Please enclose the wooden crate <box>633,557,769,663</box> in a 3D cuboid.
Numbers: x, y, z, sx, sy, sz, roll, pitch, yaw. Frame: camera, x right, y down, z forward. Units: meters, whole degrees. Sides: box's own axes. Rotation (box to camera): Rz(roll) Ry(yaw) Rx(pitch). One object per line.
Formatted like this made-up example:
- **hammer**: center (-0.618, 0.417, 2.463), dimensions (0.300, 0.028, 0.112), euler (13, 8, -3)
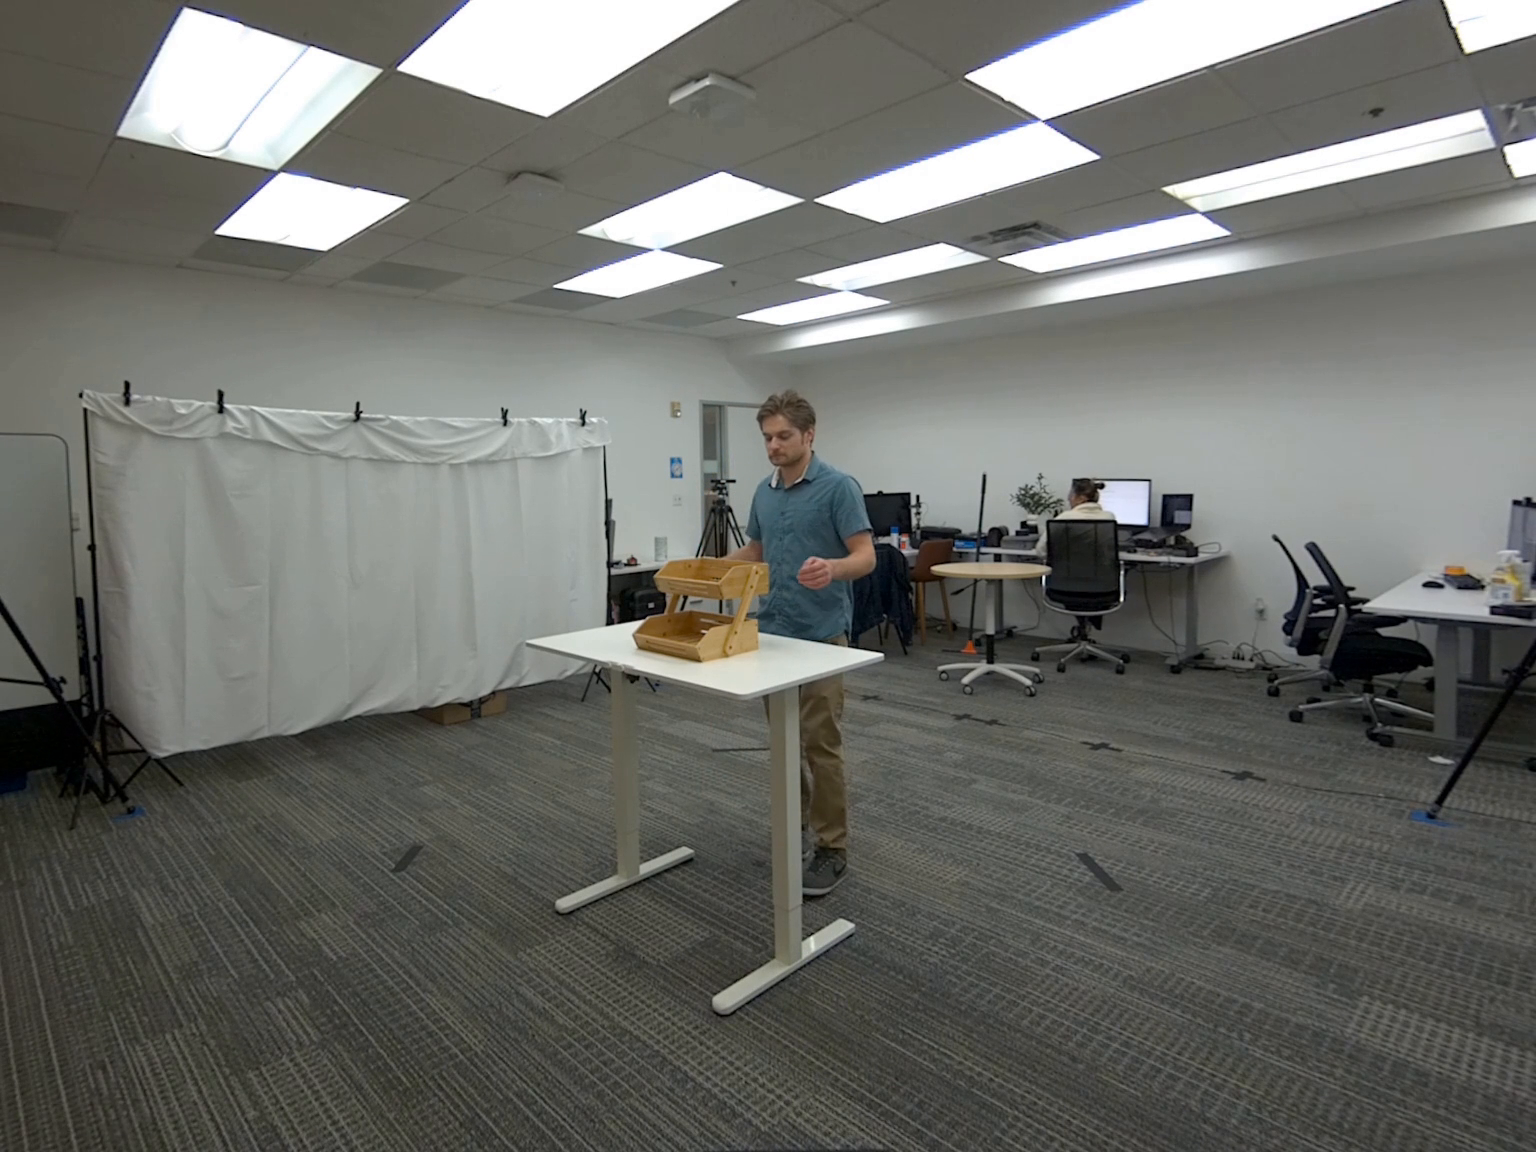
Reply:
- **wooden crate**: center (-0.209, 0.092, 2.623), dimensions (0.294, 0.272, 0.335), euler (-6, 8, -44)
